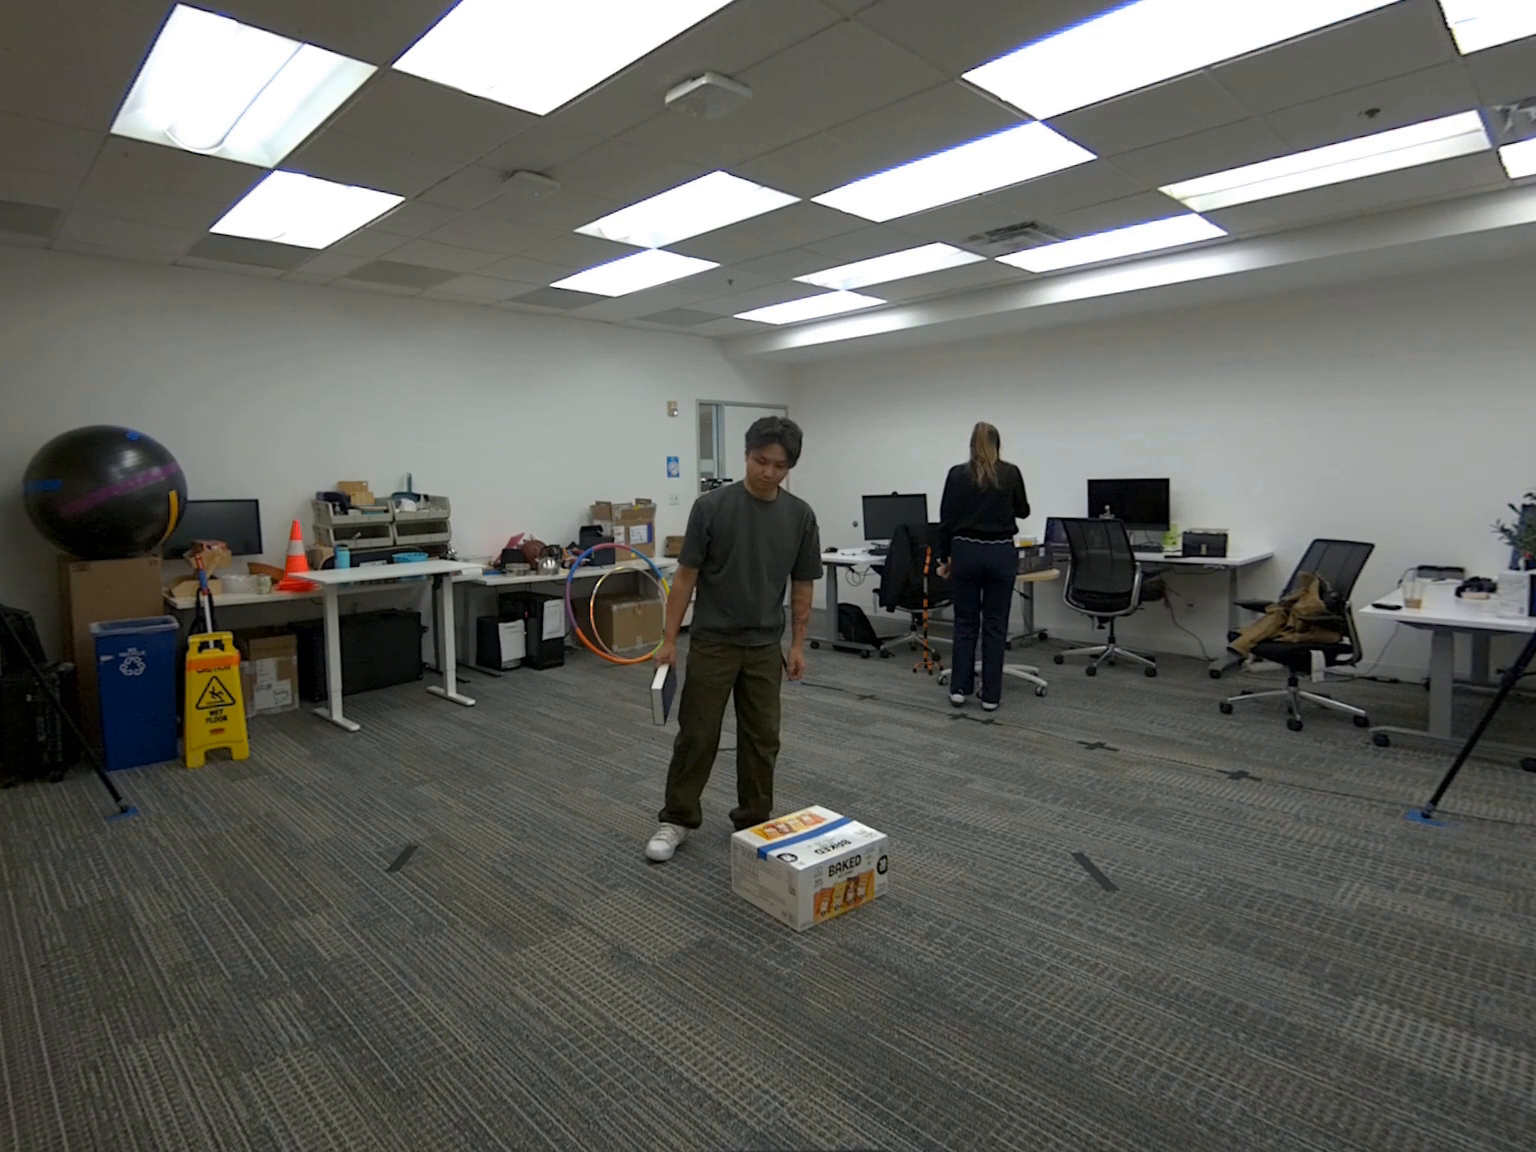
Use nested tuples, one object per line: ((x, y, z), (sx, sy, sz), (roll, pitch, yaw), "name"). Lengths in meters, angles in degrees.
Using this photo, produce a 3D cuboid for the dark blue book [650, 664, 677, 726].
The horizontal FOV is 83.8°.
((-0.379, 0.413, 3.164), (0.045, 0.160, 0.248), (1, 23, 4), "dark blue book")
